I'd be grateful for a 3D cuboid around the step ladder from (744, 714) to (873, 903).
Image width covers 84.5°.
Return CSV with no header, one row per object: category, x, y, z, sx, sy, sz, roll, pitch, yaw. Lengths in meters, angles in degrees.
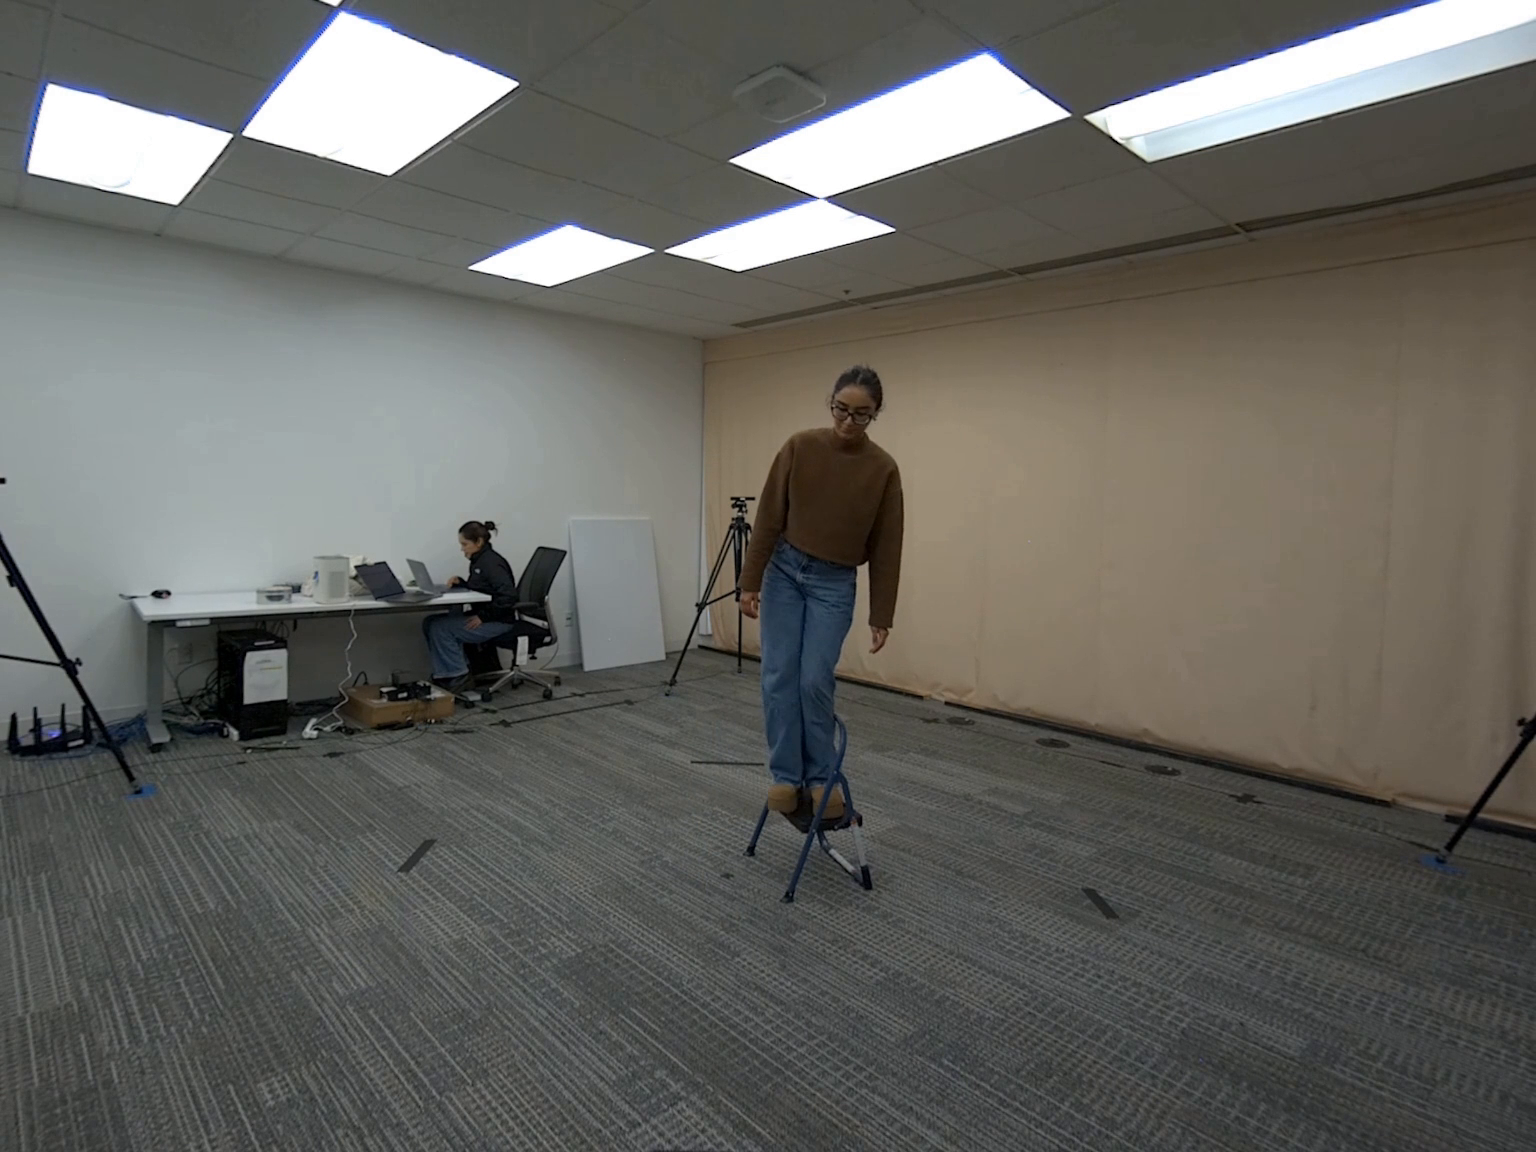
step ladder,0.145,0.811,3.138,0.344,0.605,0.438,0,4,-21
